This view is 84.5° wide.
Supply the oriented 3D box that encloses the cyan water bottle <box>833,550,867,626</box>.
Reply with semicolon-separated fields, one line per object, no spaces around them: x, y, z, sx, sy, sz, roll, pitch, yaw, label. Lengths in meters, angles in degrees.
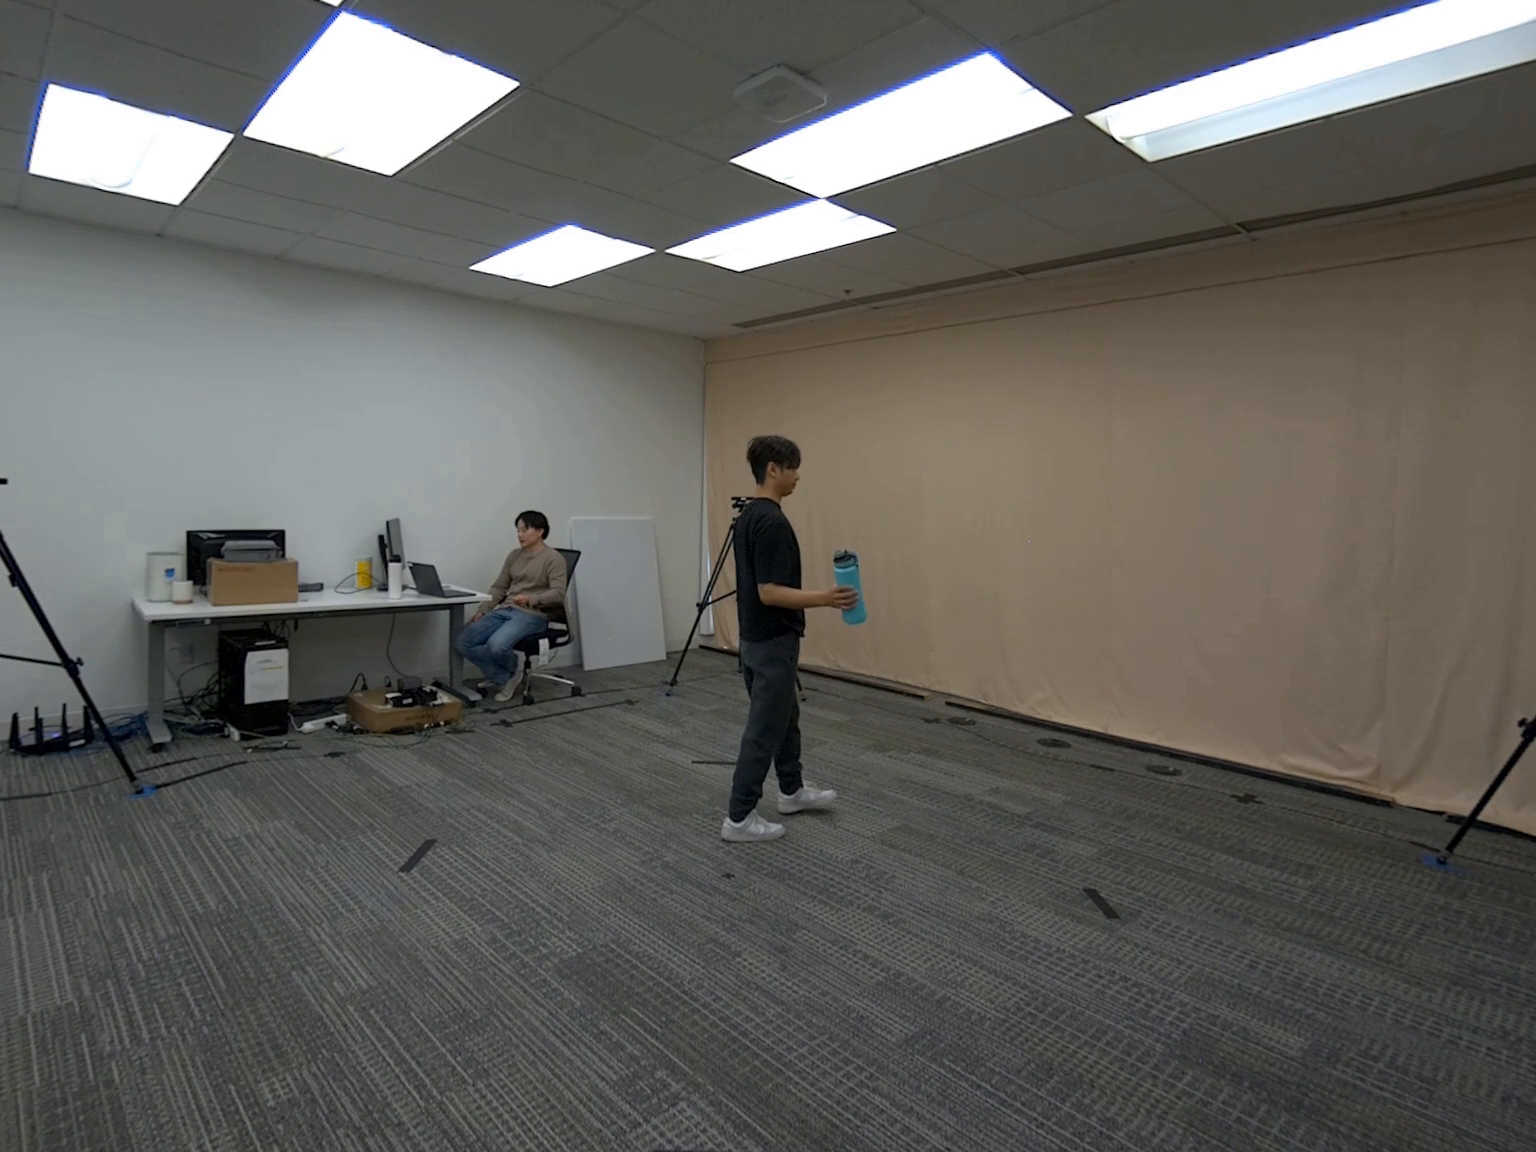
0.296;0.034;3.133;0.092;0.279;0.094;-9;20;2;cyan water bottle
